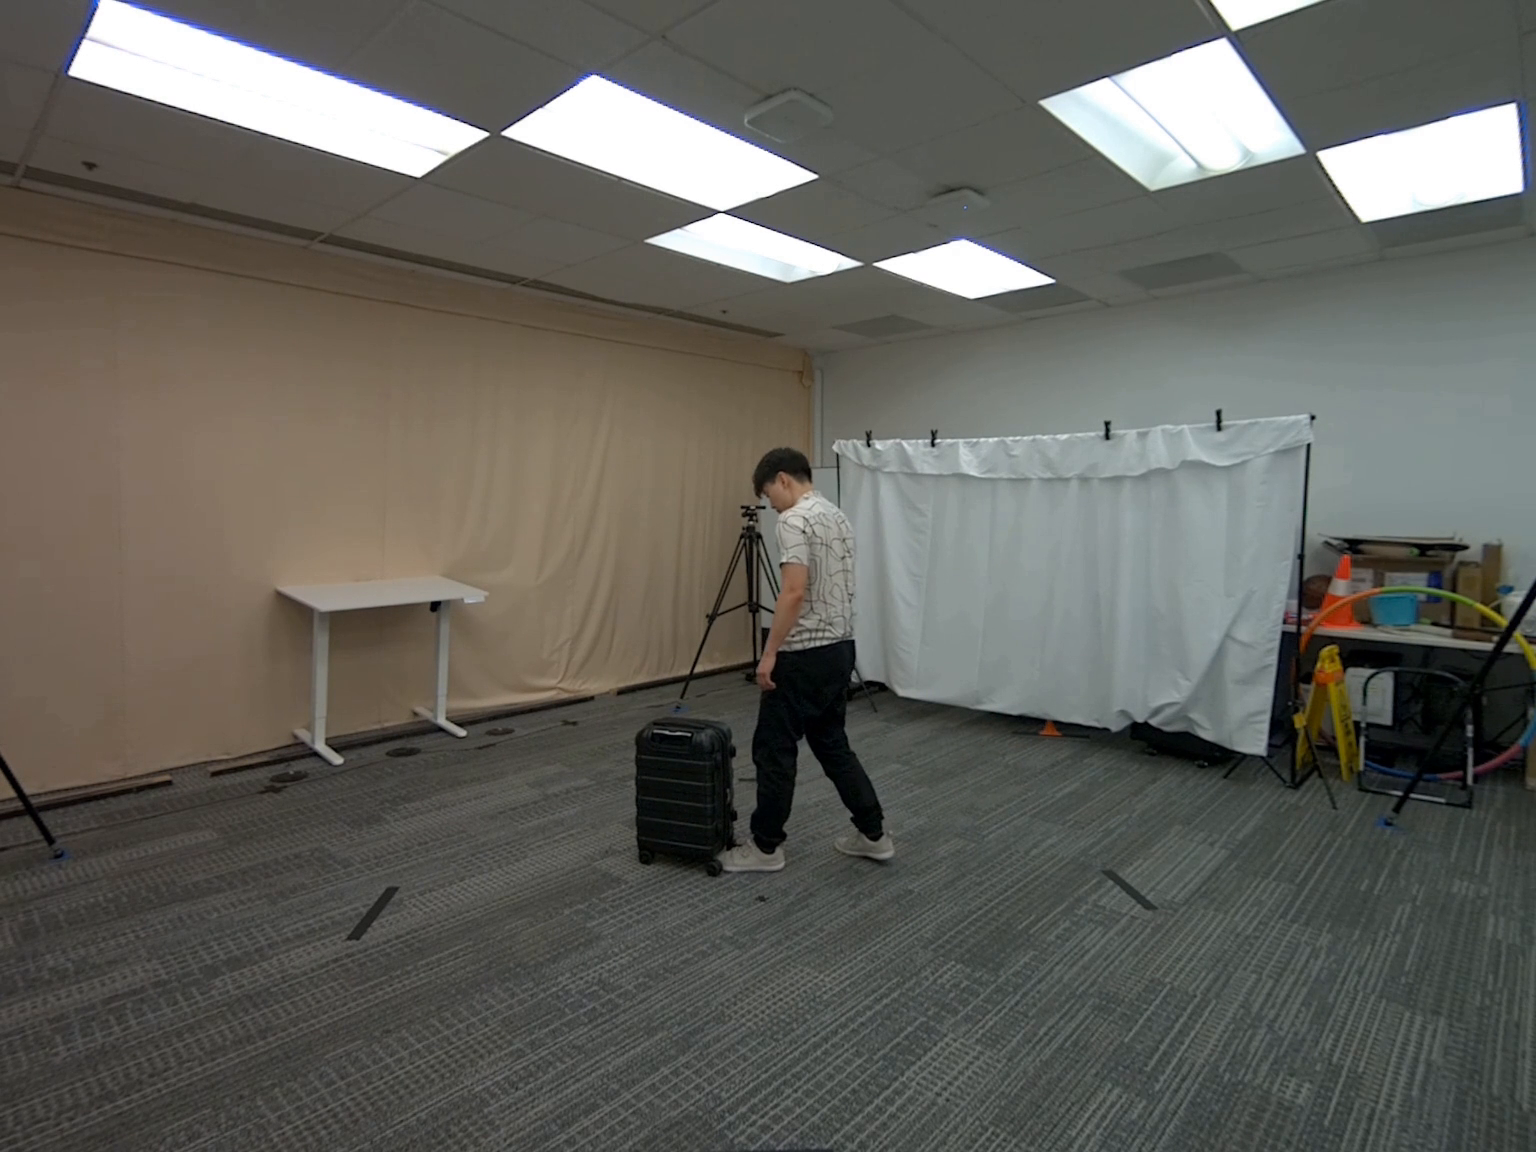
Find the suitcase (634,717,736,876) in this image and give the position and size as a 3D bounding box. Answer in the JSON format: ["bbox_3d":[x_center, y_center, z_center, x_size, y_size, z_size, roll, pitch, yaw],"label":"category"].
[{"bbox_3d":[-0.328,0.845,3.332,0.384,0.549,0.243,-1,2,21],"label":"suitcase"}]
